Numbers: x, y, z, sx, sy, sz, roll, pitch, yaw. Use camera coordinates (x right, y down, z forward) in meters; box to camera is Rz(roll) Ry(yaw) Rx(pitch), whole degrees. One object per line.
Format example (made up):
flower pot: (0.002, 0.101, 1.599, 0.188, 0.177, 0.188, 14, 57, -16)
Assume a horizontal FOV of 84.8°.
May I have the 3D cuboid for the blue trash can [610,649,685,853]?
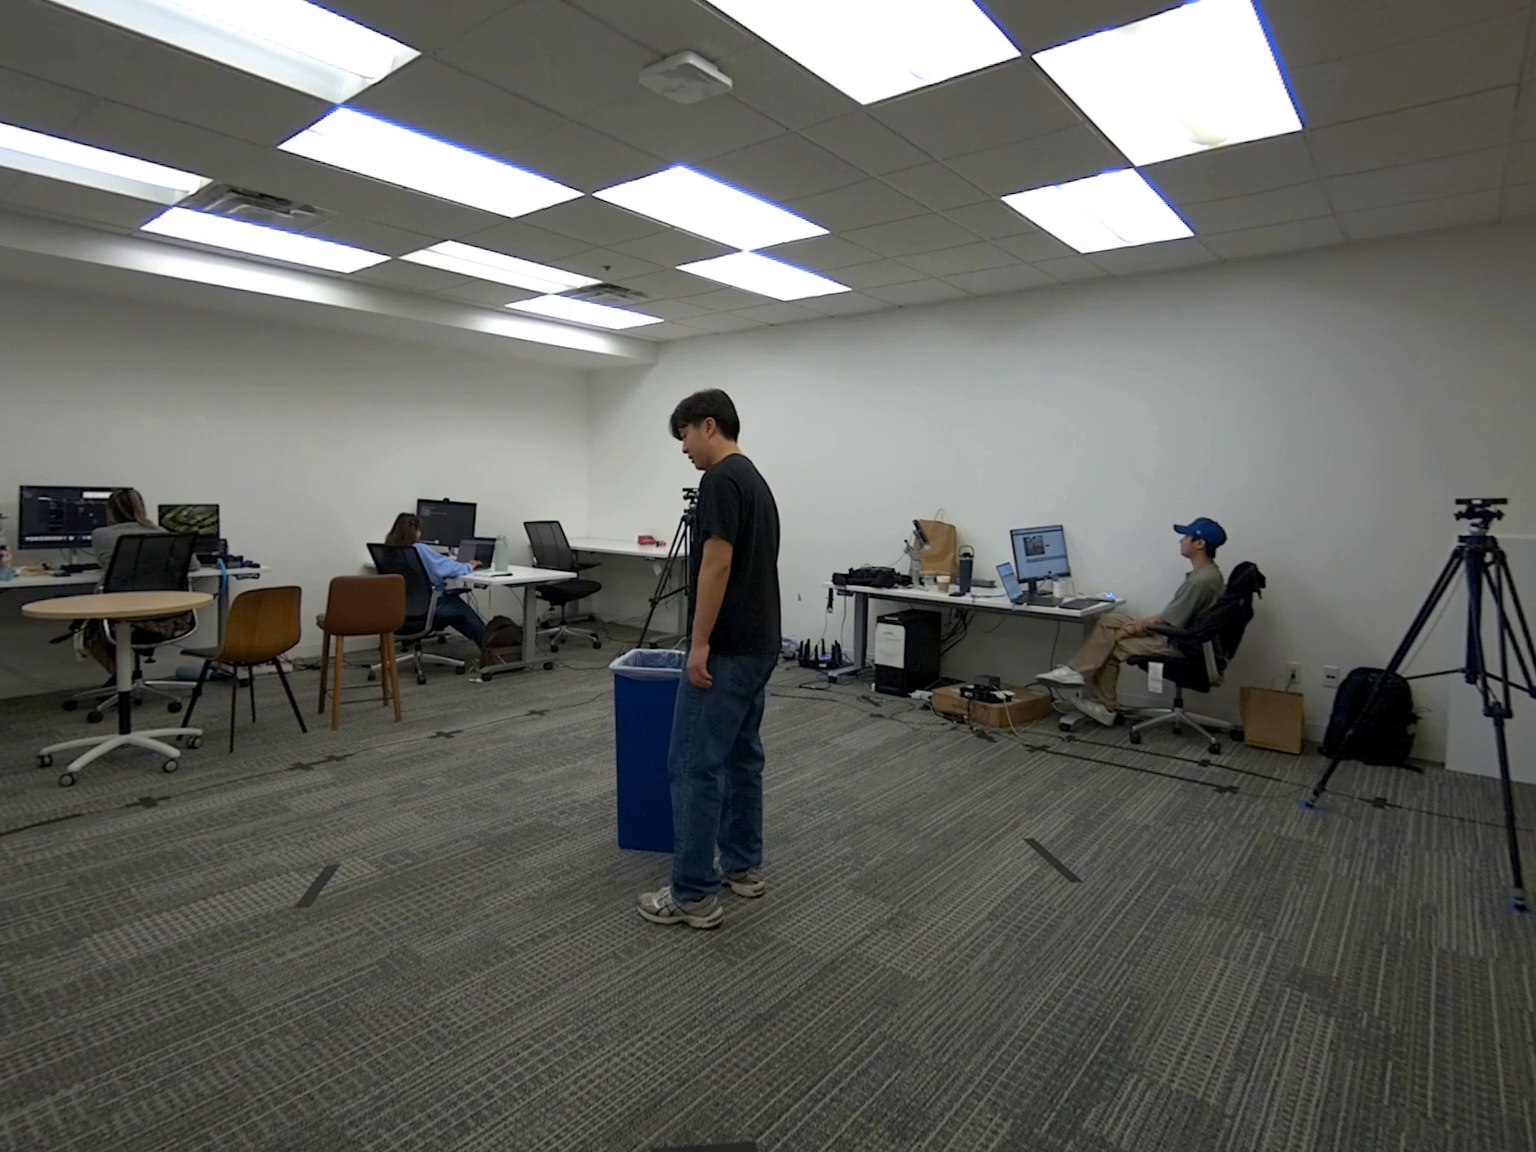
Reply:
blue trash can: (-0.427, 0.681, 3.393, 0.382, 0.710, 0.372, 1, 5, 7)
